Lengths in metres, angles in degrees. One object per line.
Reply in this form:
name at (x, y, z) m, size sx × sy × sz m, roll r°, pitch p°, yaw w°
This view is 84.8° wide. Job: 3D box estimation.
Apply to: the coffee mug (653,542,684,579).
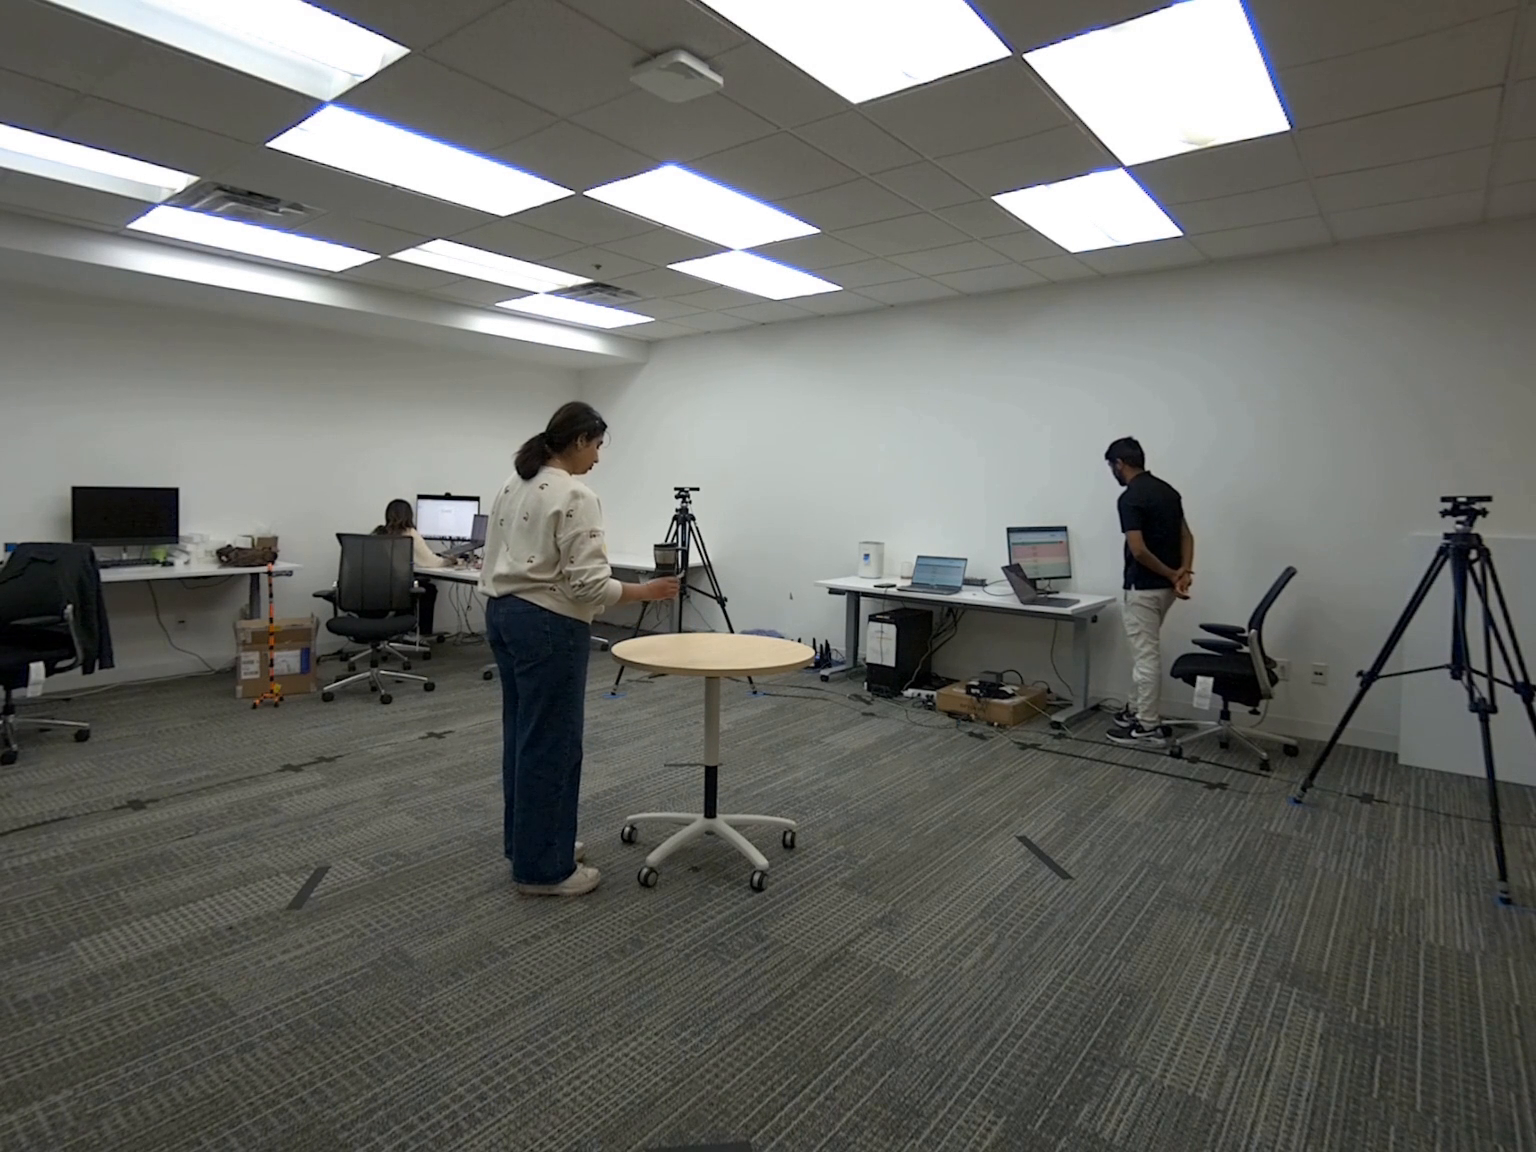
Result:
coffee mug at (-0.363, -0.012, 3.049) m, size 0.124 × 0.202 × 0.086 m, roll 1°, pitch 4°, yaw 19°
